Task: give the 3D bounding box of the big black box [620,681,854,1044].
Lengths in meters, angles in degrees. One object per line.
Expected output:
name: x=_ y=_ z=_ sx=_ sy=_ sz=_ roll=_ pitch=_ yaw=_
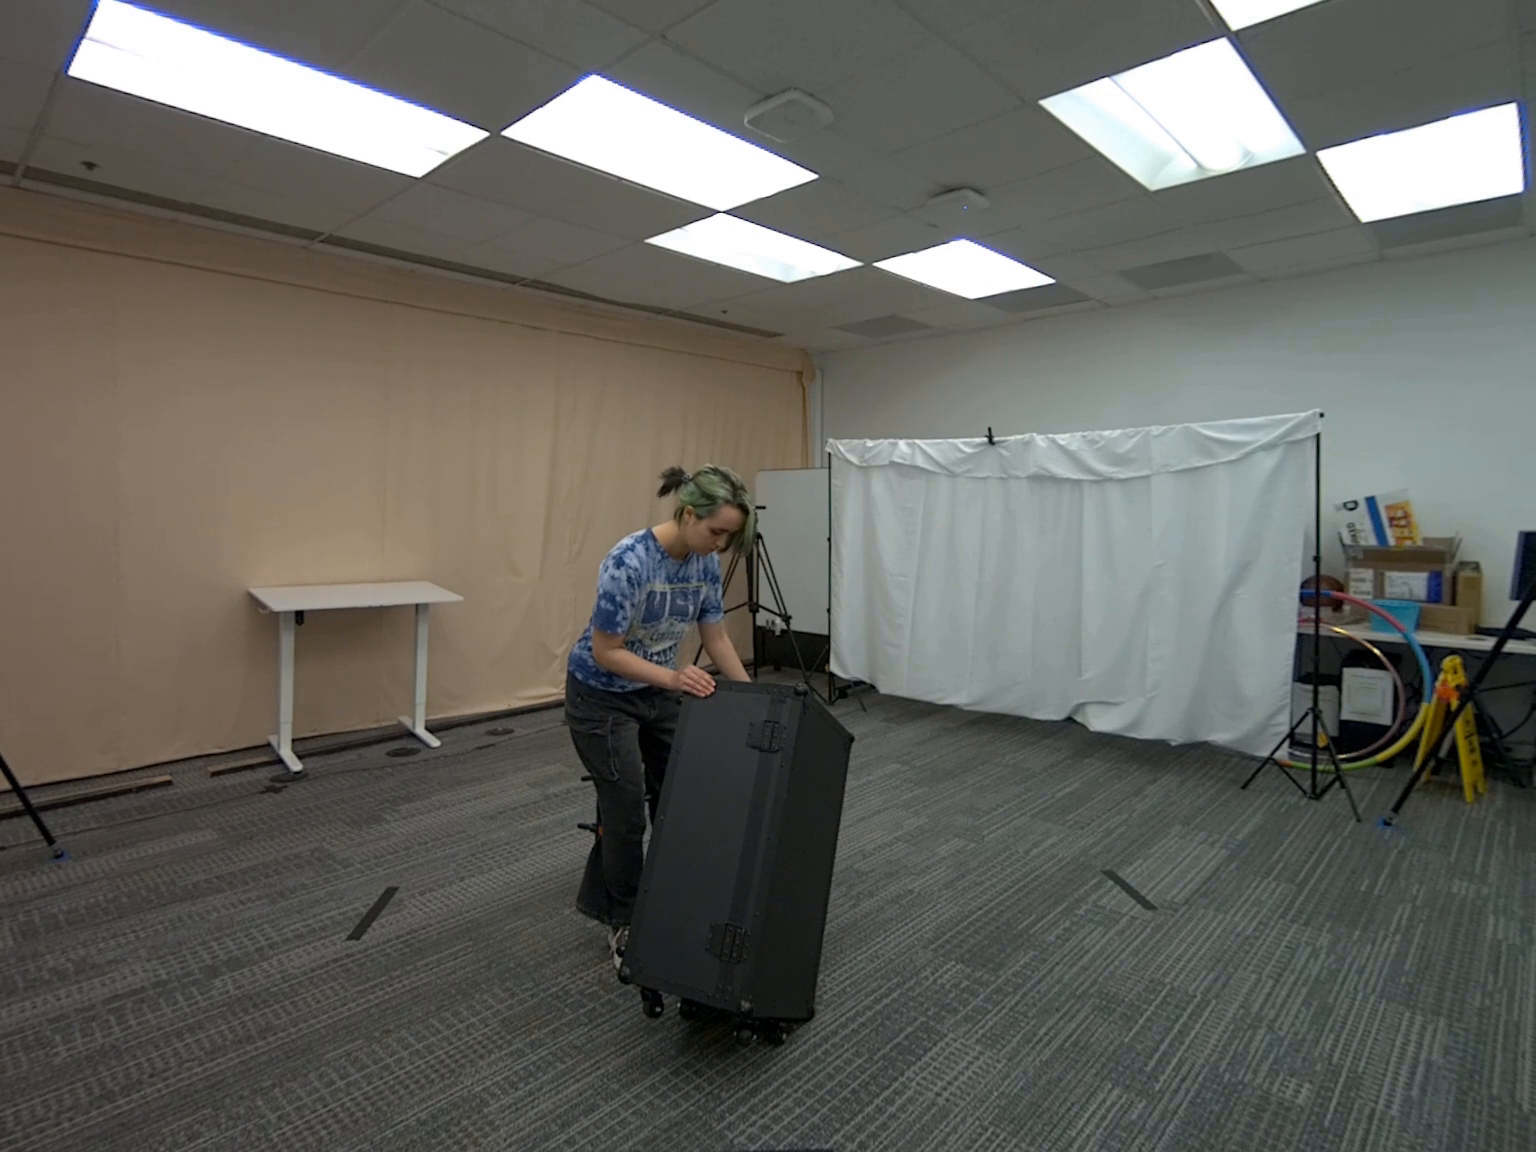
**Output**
big black box: x=-0.064 y=0.769 z=2.315 sx=0.406 sy=0.868 sz=0.504 roll=0 pitch=-26 yaw=25
